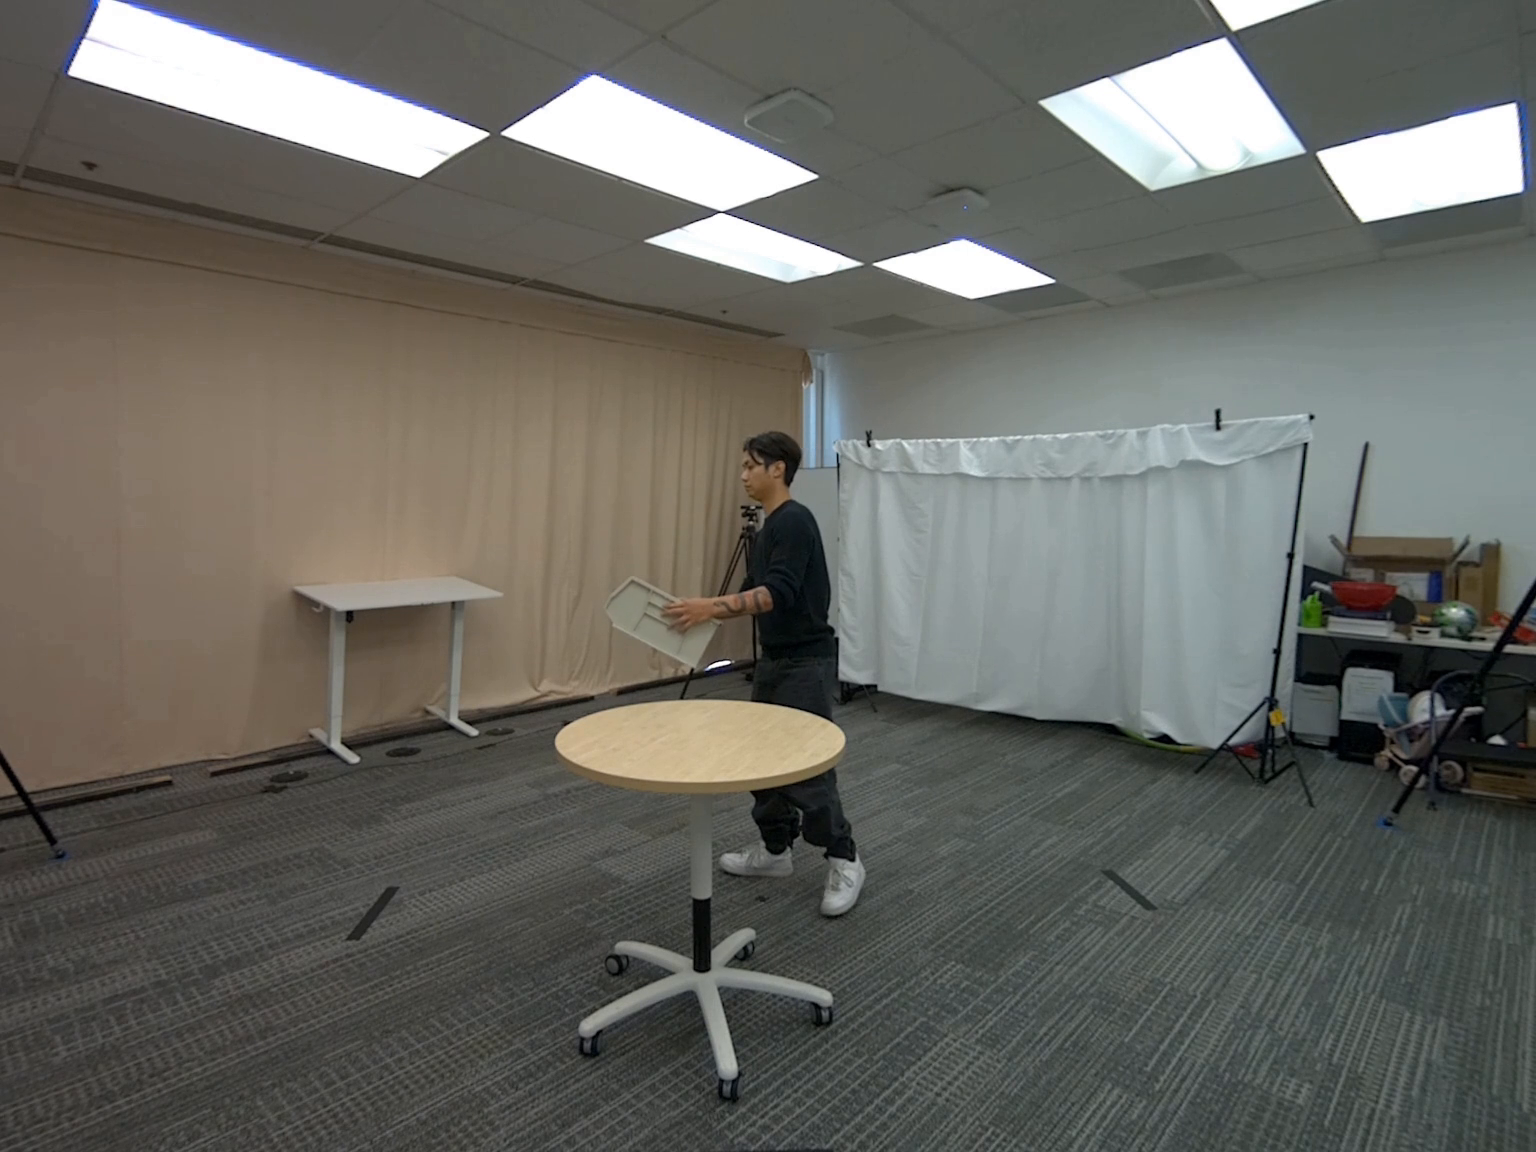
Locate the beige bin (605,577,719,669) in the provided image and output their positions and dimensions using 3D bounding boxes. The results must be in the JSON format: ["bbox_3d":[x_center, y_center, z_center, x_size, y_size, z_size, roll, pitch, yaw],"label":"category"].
[{"bbox_3d":[-0.391,0.161,2.999,0.374,0.189,0.426,29,-7,-7],"label":"beige bin"}]
